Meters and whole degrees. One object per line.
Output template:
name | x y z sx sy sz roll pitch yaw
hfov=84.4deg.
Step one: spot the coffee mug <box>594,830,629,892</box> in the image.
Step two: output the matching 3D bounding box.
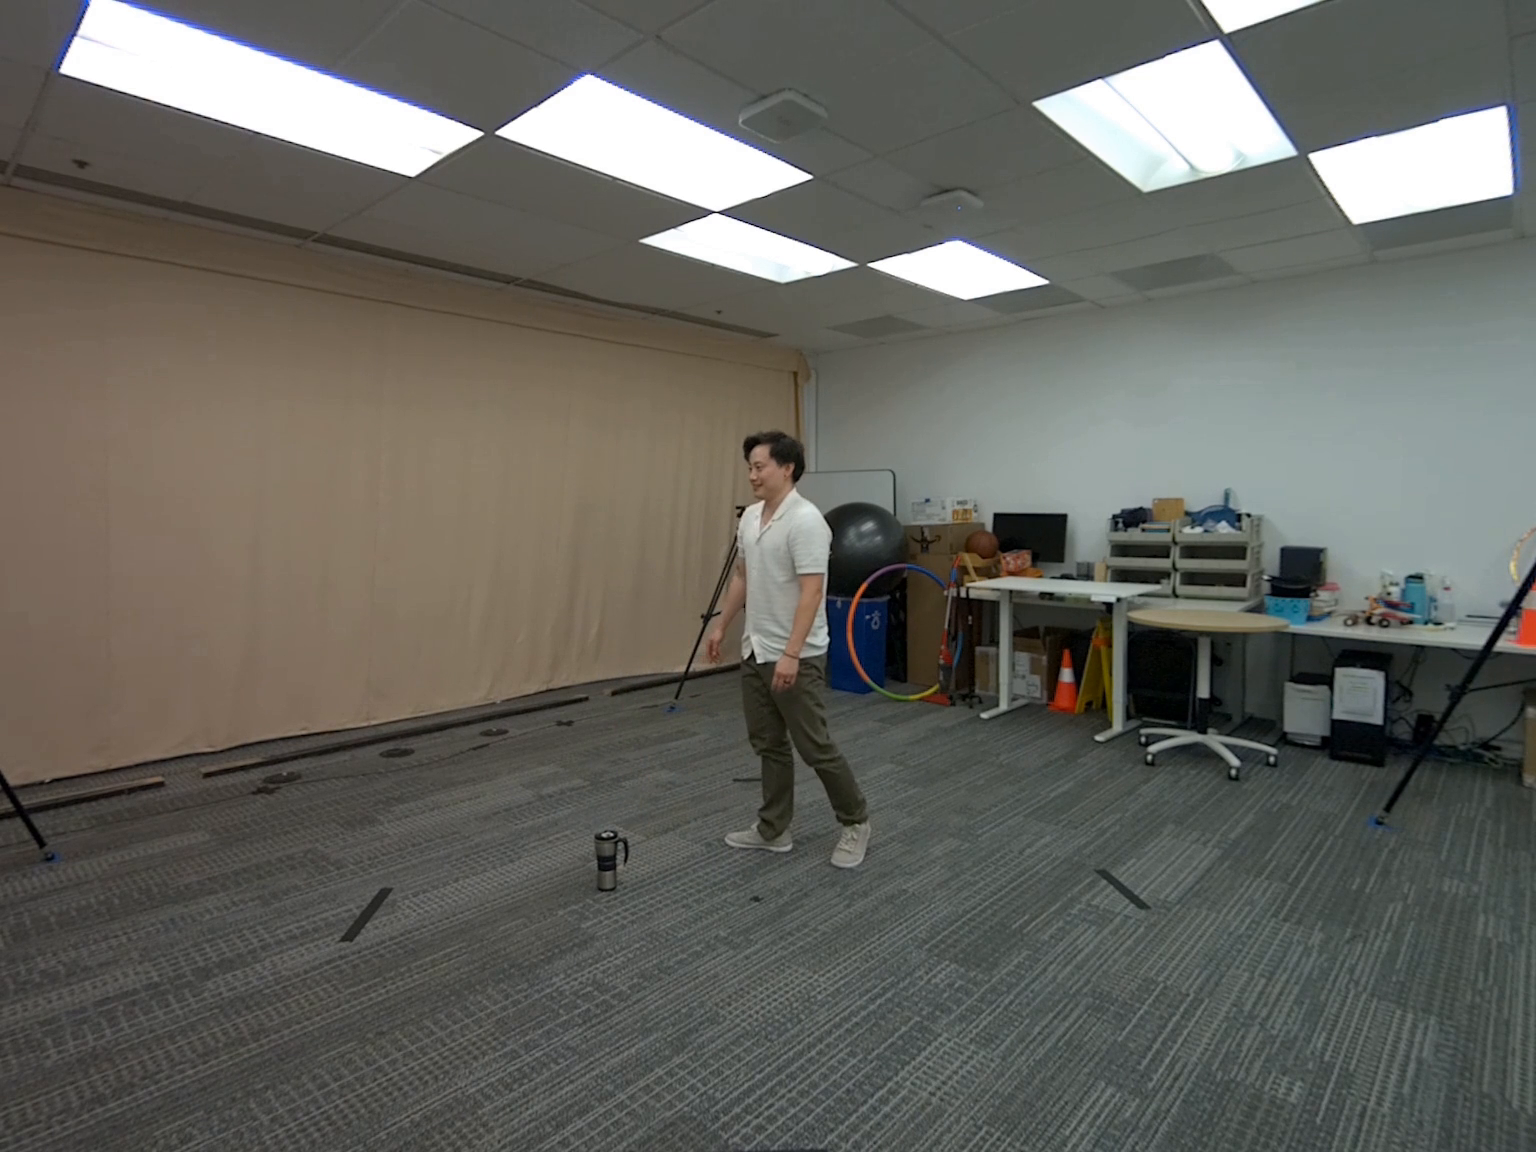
coffee mug | -0.574 1.047 3.062 0.126 0.203 0.085 -2 -2 36
